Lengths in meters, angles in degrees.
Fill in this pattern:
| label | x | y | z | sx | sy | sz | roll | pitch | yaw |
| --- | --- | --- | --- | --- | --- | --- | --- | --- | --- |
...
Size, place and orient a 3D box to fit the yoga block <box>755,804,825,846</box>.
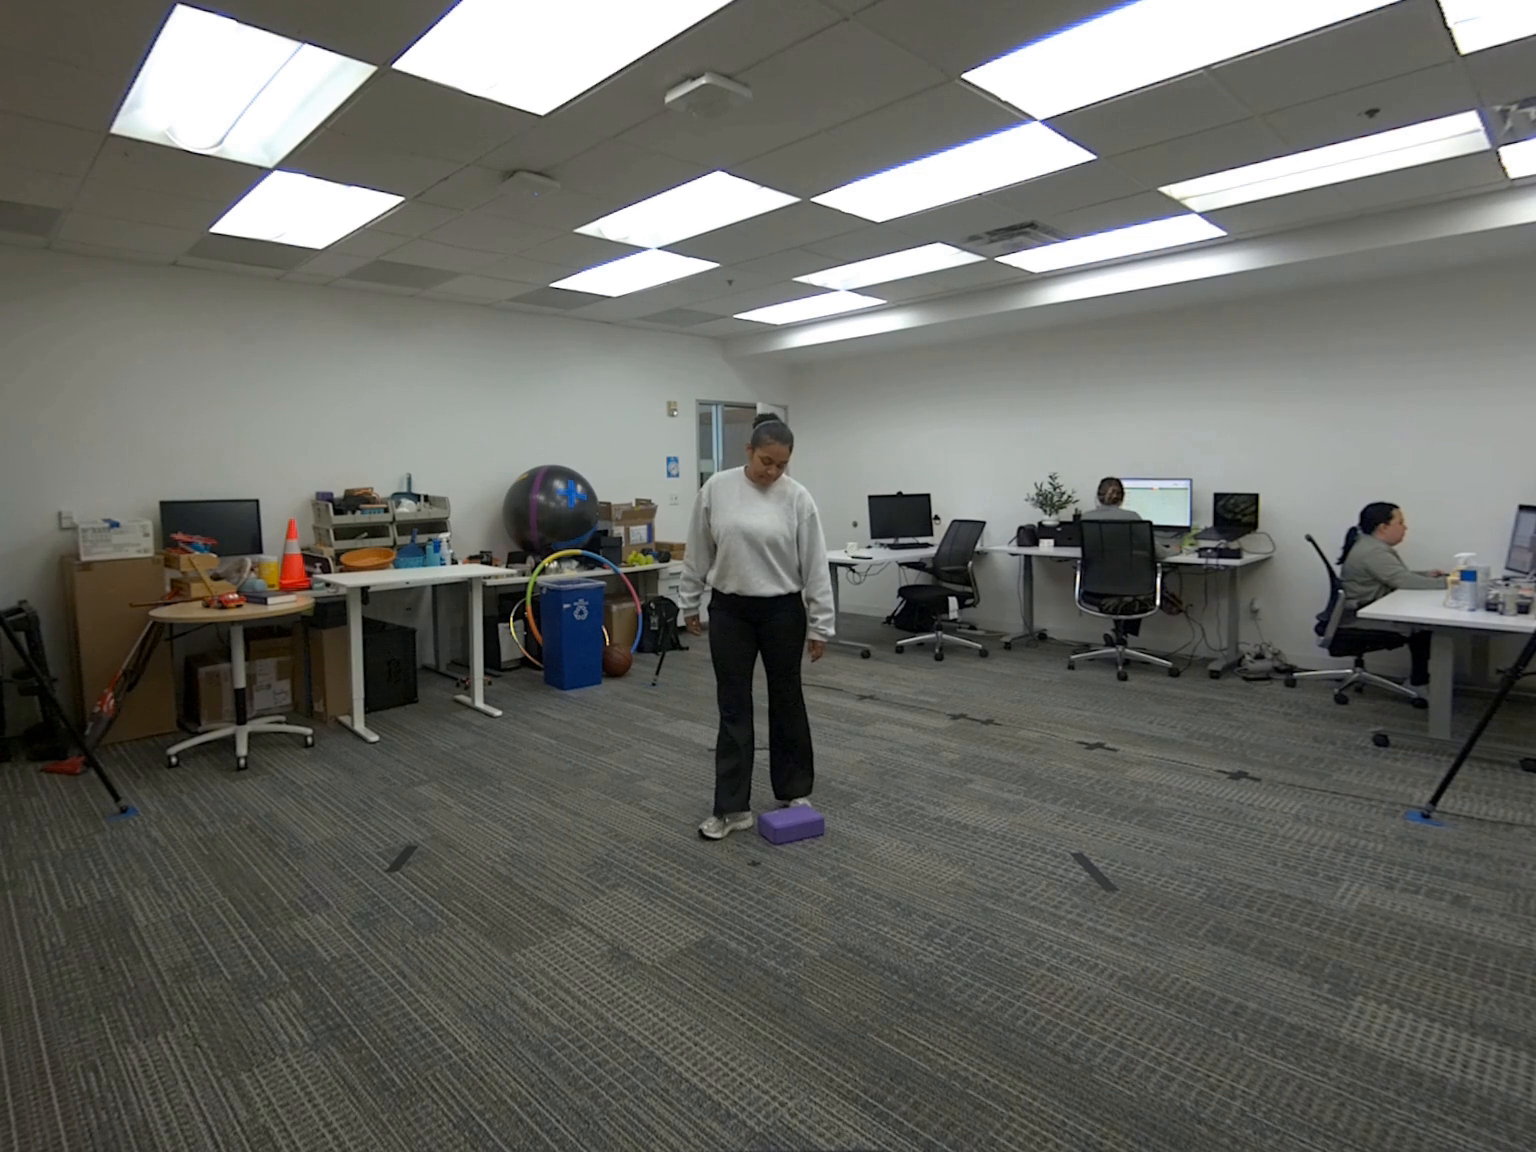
| label | x | y | z | sx | sy | sz | roll | pitch | yaw |
| --- | --- | --- | --- | --- | --- | --- | --- | --- | --- |
| yoga block | 0.086 | 0.976 | 3.357 | 0.224 | 0.076 | 0.153 | -5 | 7 | -27 |
